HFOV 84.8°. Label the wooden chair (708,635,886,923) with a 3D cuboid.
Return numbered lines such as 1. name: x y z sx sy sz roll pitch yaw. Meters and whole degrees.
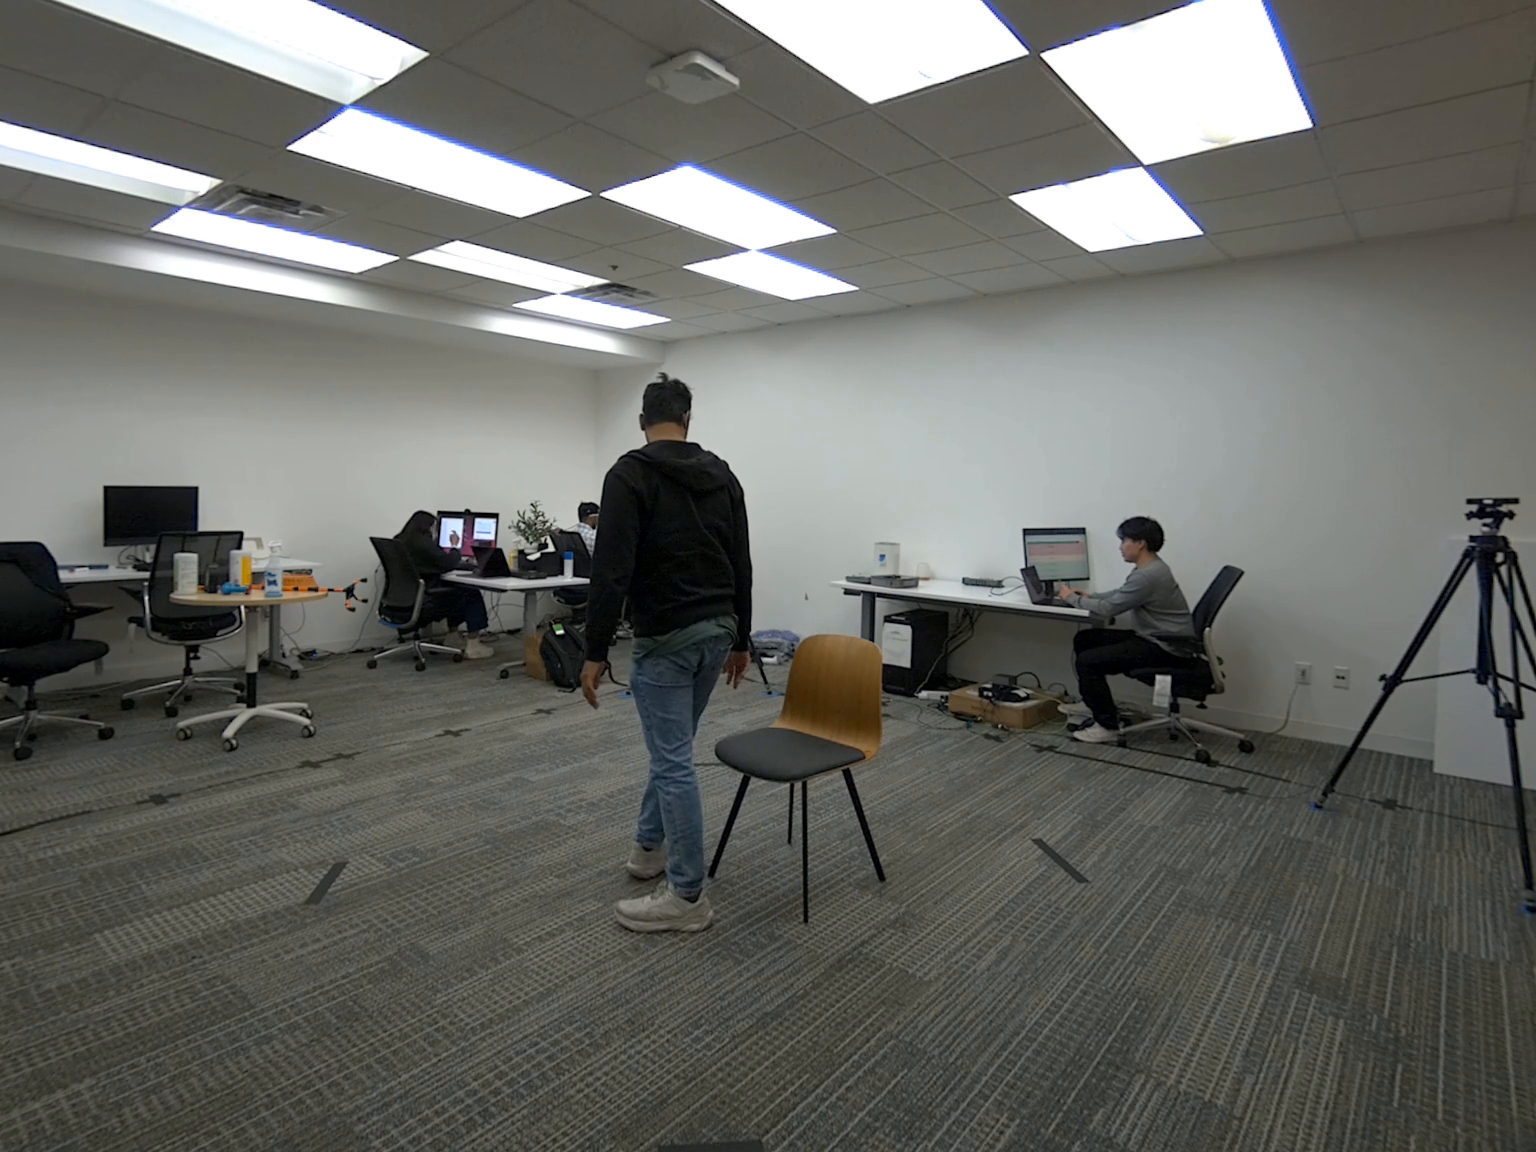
1. wooden chair: 0.093 0.654 3.016 0.494 0.877 0.505 5 1 43
